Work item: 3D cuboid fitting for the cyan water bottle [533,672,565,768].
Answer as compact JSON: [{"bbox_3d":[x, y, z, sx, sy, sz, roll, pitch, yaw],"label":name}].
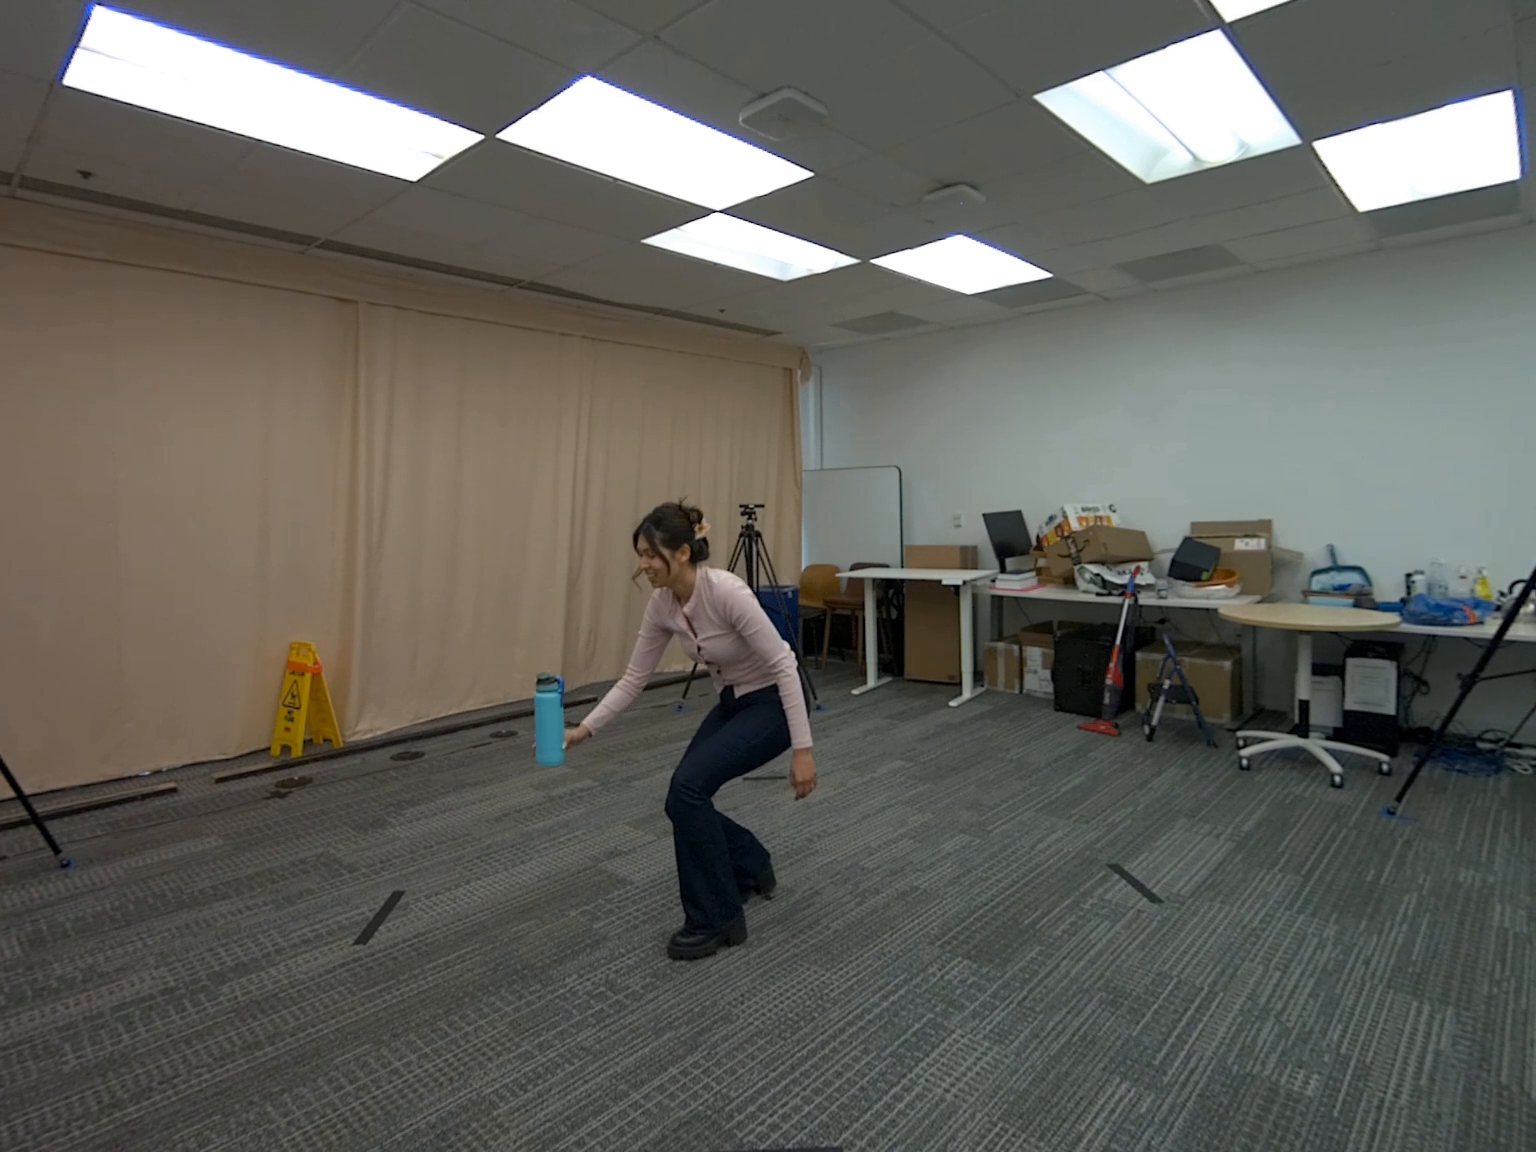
[{"bbox_3d":[-0.673,0.442,2.629,0.092,0.283,0.092,-1,2,-2],"label":"cyan water bottle"}]
